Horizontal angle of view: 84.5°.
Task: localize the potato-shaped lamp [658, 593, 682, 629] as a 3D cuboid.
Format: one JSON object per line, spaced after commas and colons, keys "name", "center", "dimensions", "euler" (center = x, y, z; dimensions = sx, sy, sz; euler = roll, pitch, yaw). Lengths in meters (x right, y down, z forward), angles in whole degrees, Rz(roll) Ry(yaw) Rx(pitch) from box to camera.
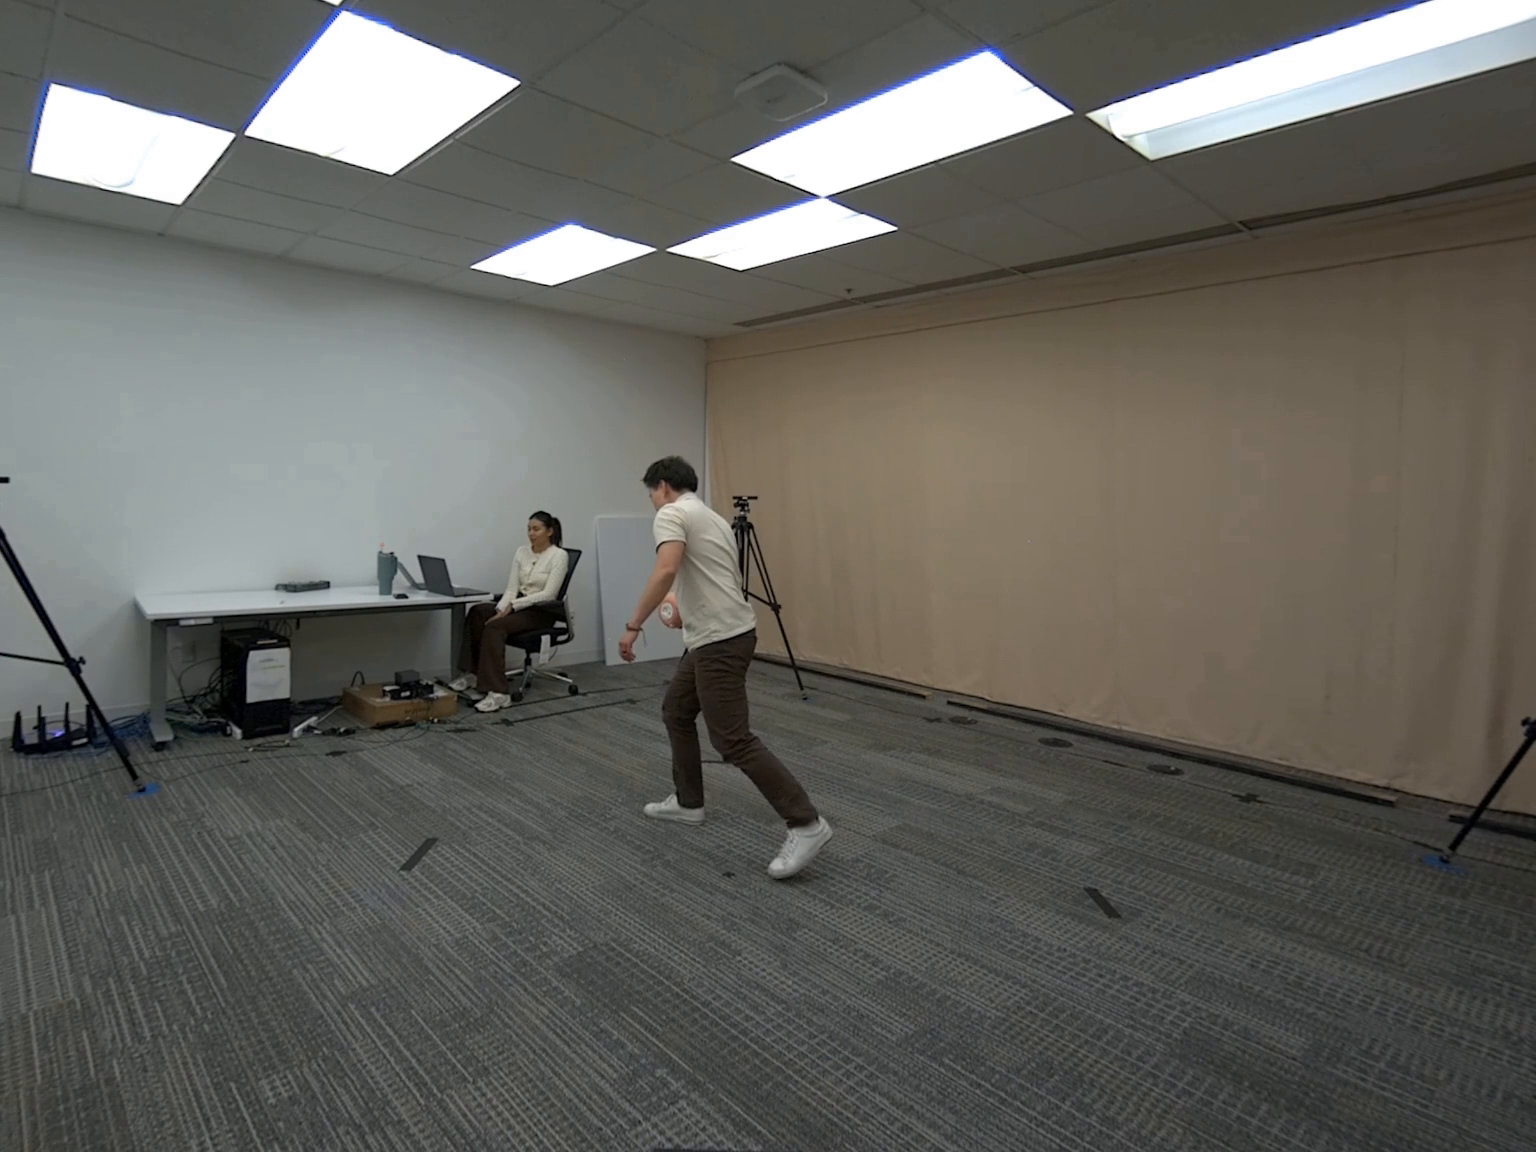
{"name": "potato-shaped lamp", "center": [-0.420, 0.165, 3.955], "dimensions": [0.177, 0.164, 0.193], "euler": [34, 20, 35]}
